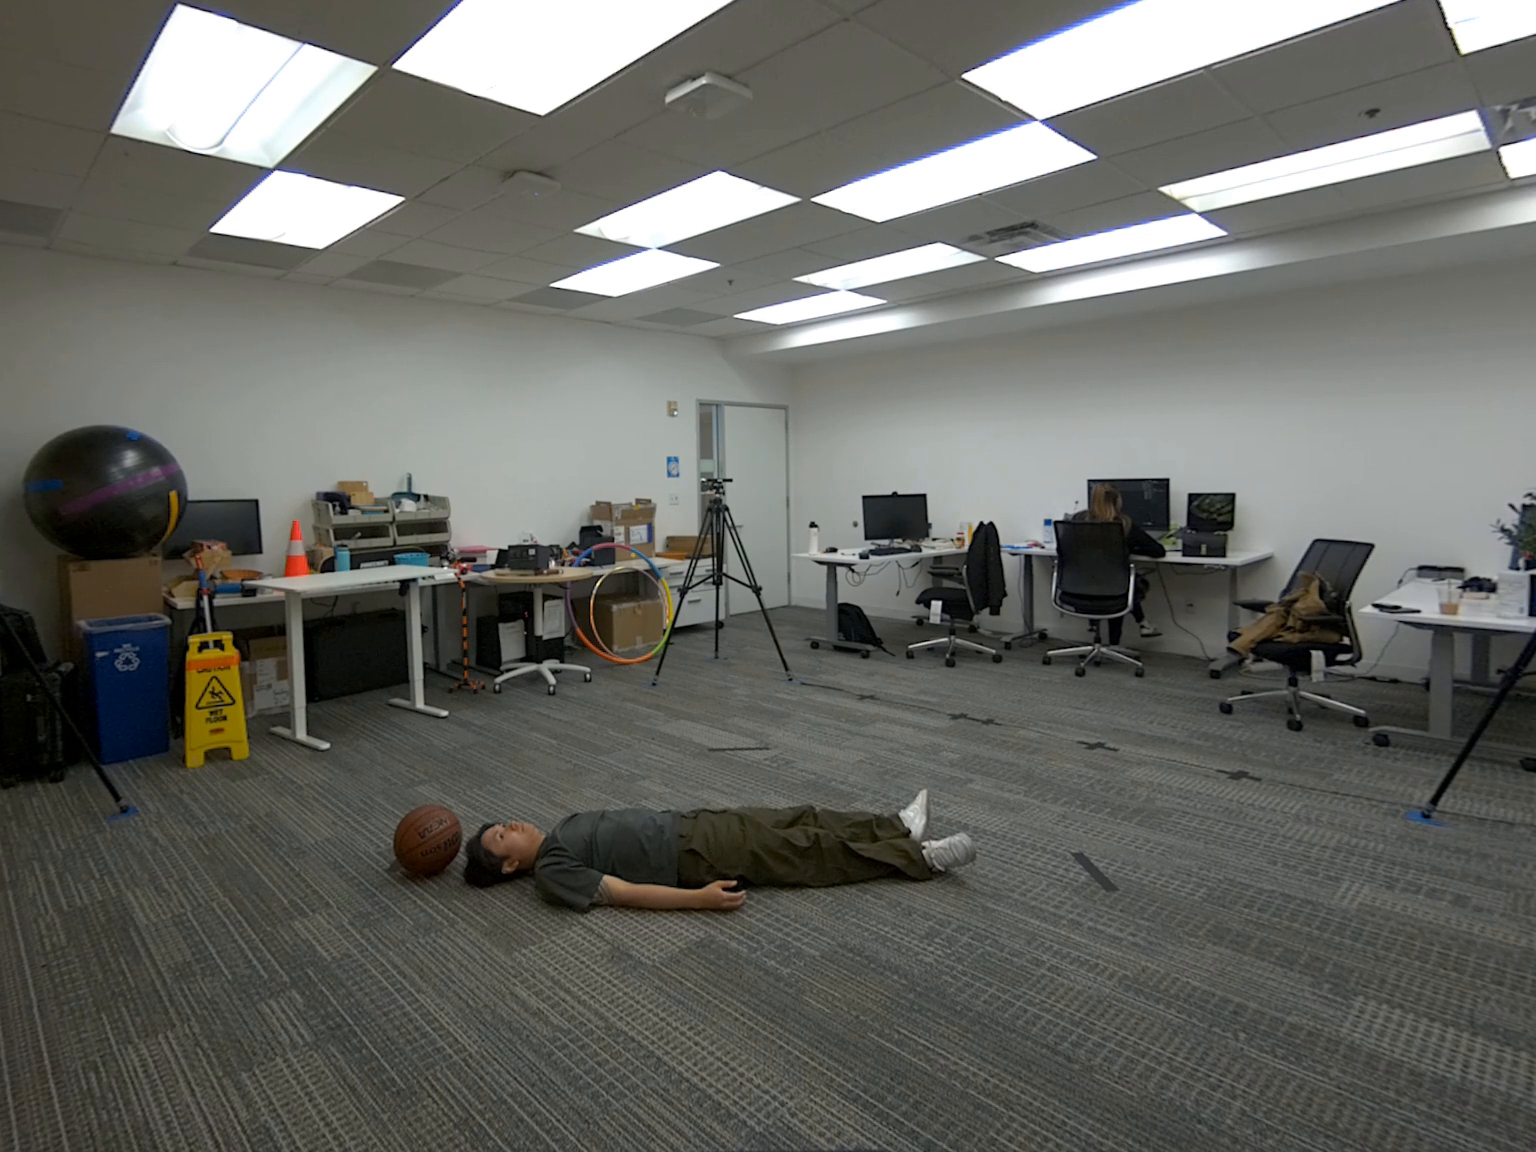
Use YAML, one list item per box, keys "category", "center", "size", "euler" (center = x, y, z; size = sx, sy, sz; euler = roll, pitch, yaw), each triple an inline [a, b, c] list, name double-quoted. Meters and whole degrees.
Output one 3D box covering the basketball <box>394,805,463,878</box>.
- category: "basketball"
  center: [-1.224, 0.947, 3.093]
  size: [0.236, 0.235, 0.237]
  euler: [-1, 5, -2]
